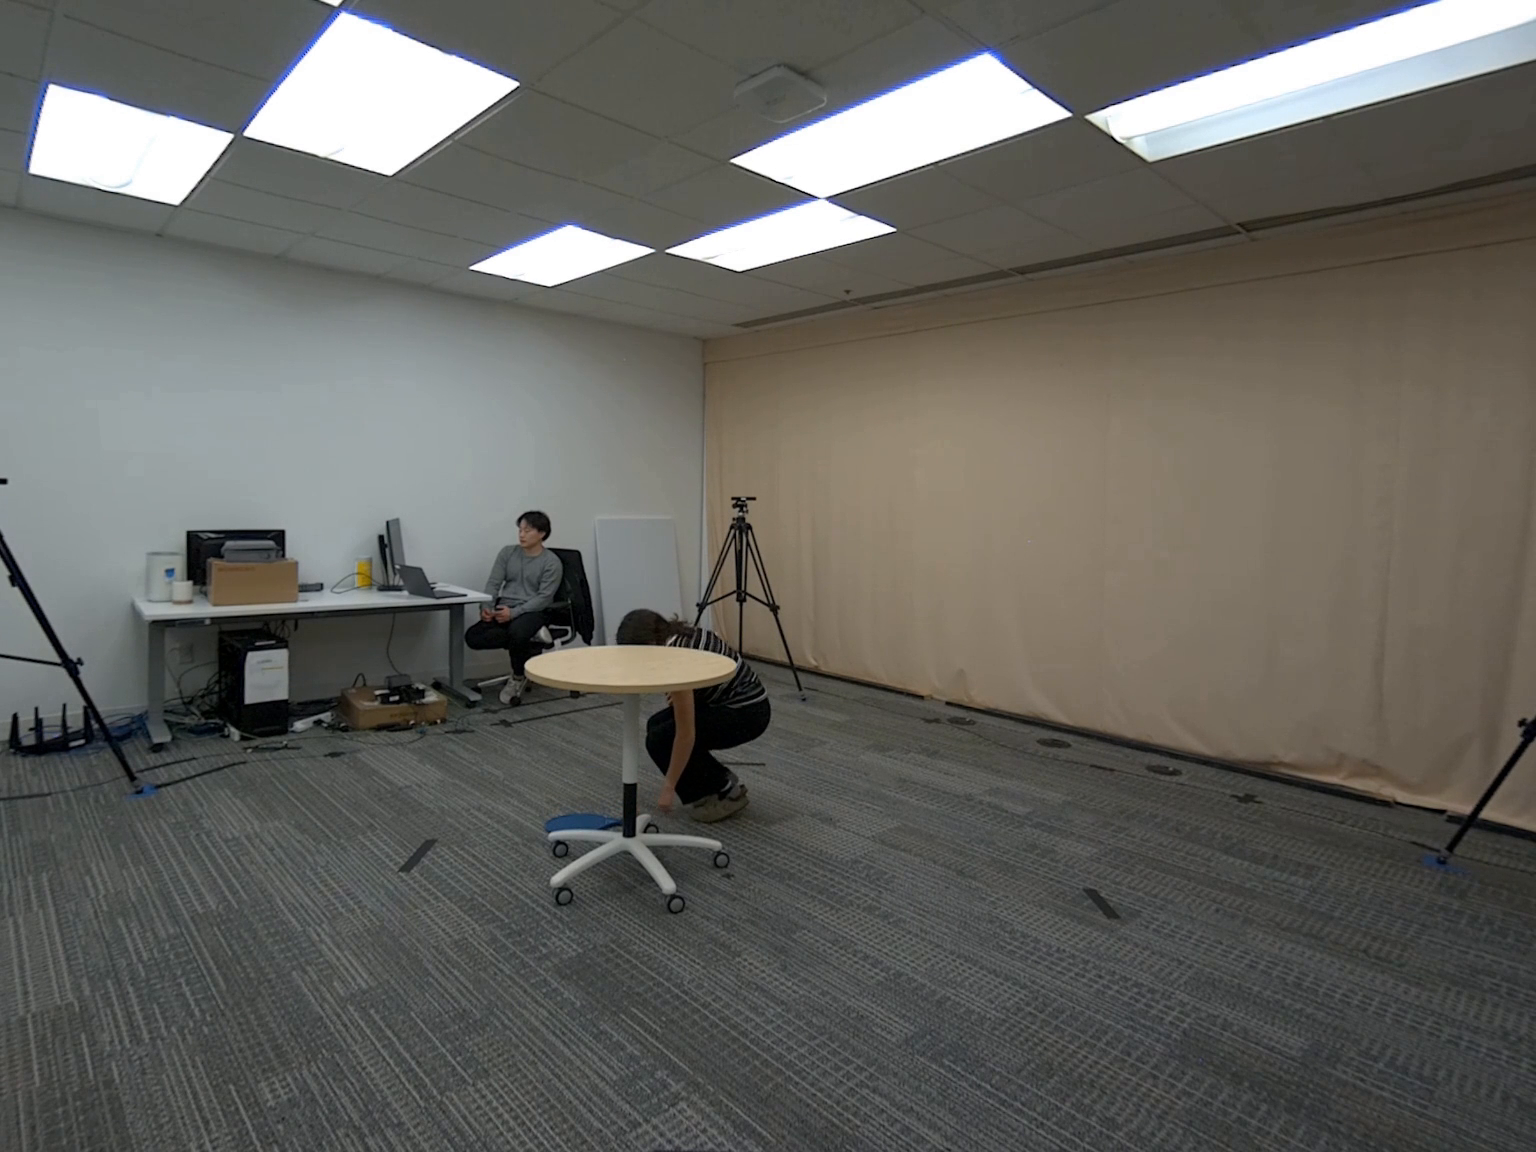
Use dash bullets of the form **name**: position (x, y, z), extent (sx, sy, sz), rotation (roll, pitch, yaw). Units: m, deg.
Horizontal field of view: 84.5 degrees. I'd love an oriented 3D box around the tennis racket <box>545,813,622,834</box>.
- **tennis racket**: position (-0.712, 1.021, 3.517), extent (0.431, 0.031, 0.215), rotation (0, 5, -5)
